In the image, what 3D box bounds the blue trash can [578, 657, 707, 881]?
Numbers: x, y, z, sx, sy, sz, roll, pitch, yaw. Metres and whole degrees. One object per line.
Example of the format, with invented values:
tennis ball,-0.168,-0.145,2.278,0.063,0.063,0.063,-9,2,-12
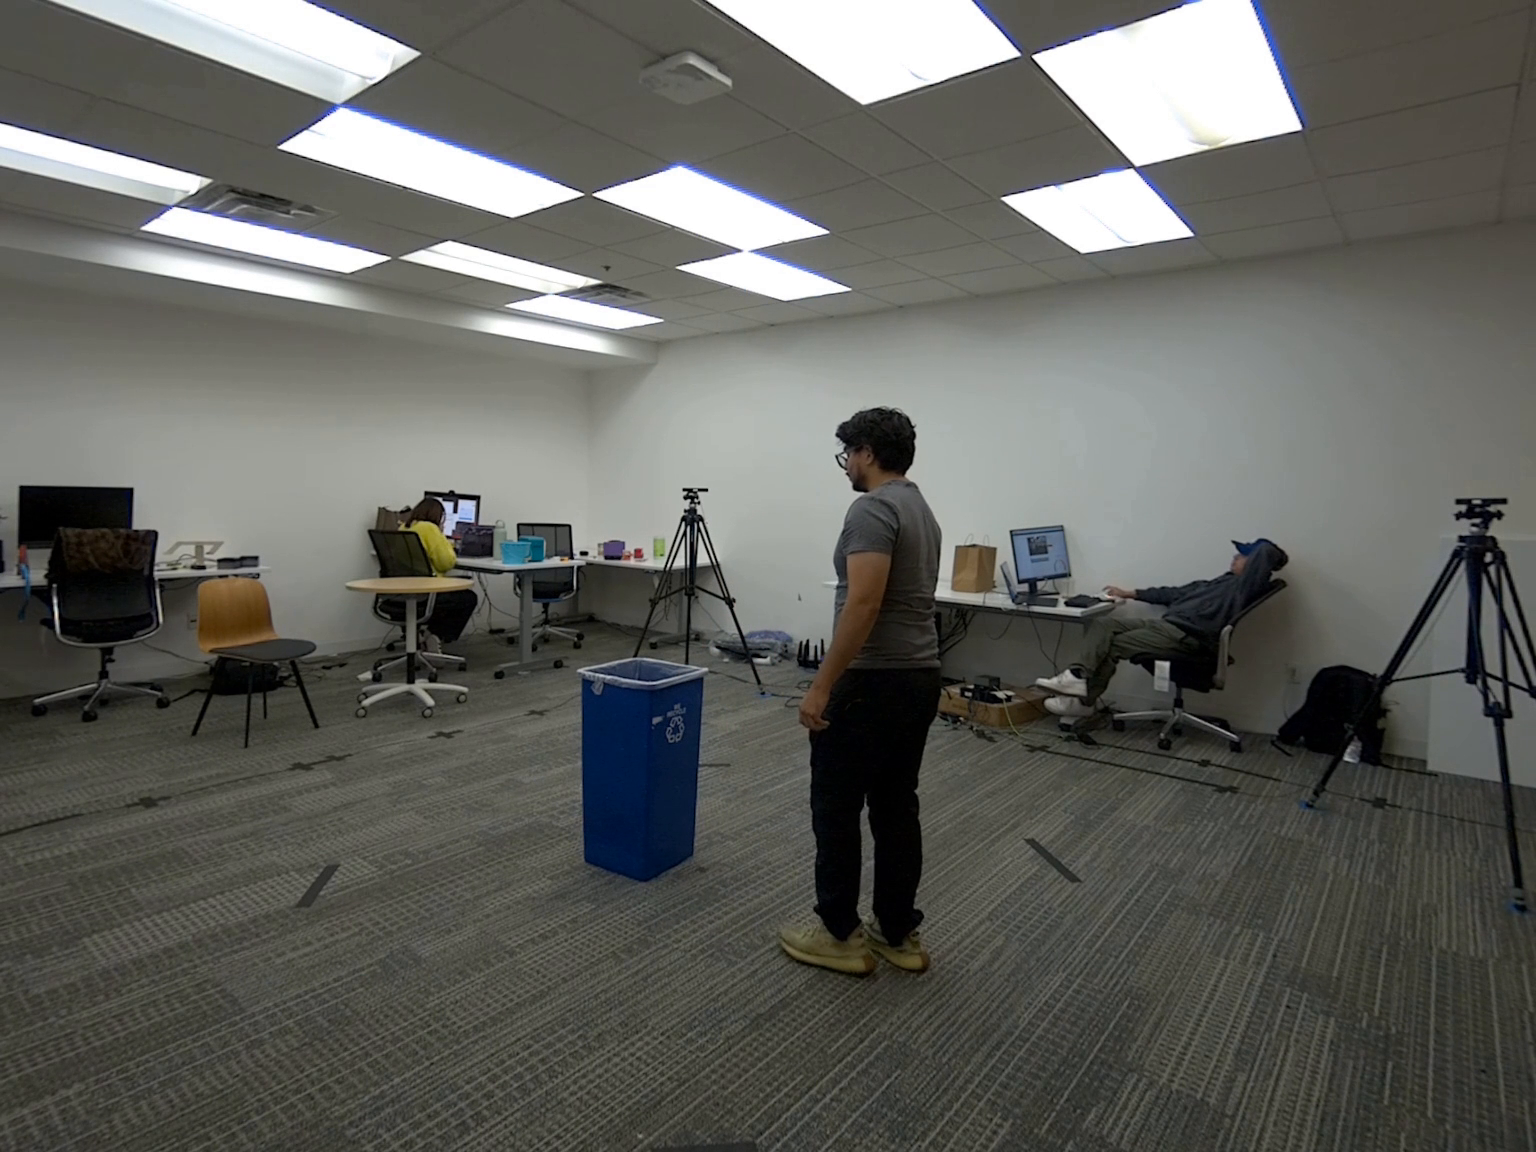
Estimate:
blue trash can,-0.483,0.699,3.189,0.390,0.712,0.364,3,4,33
